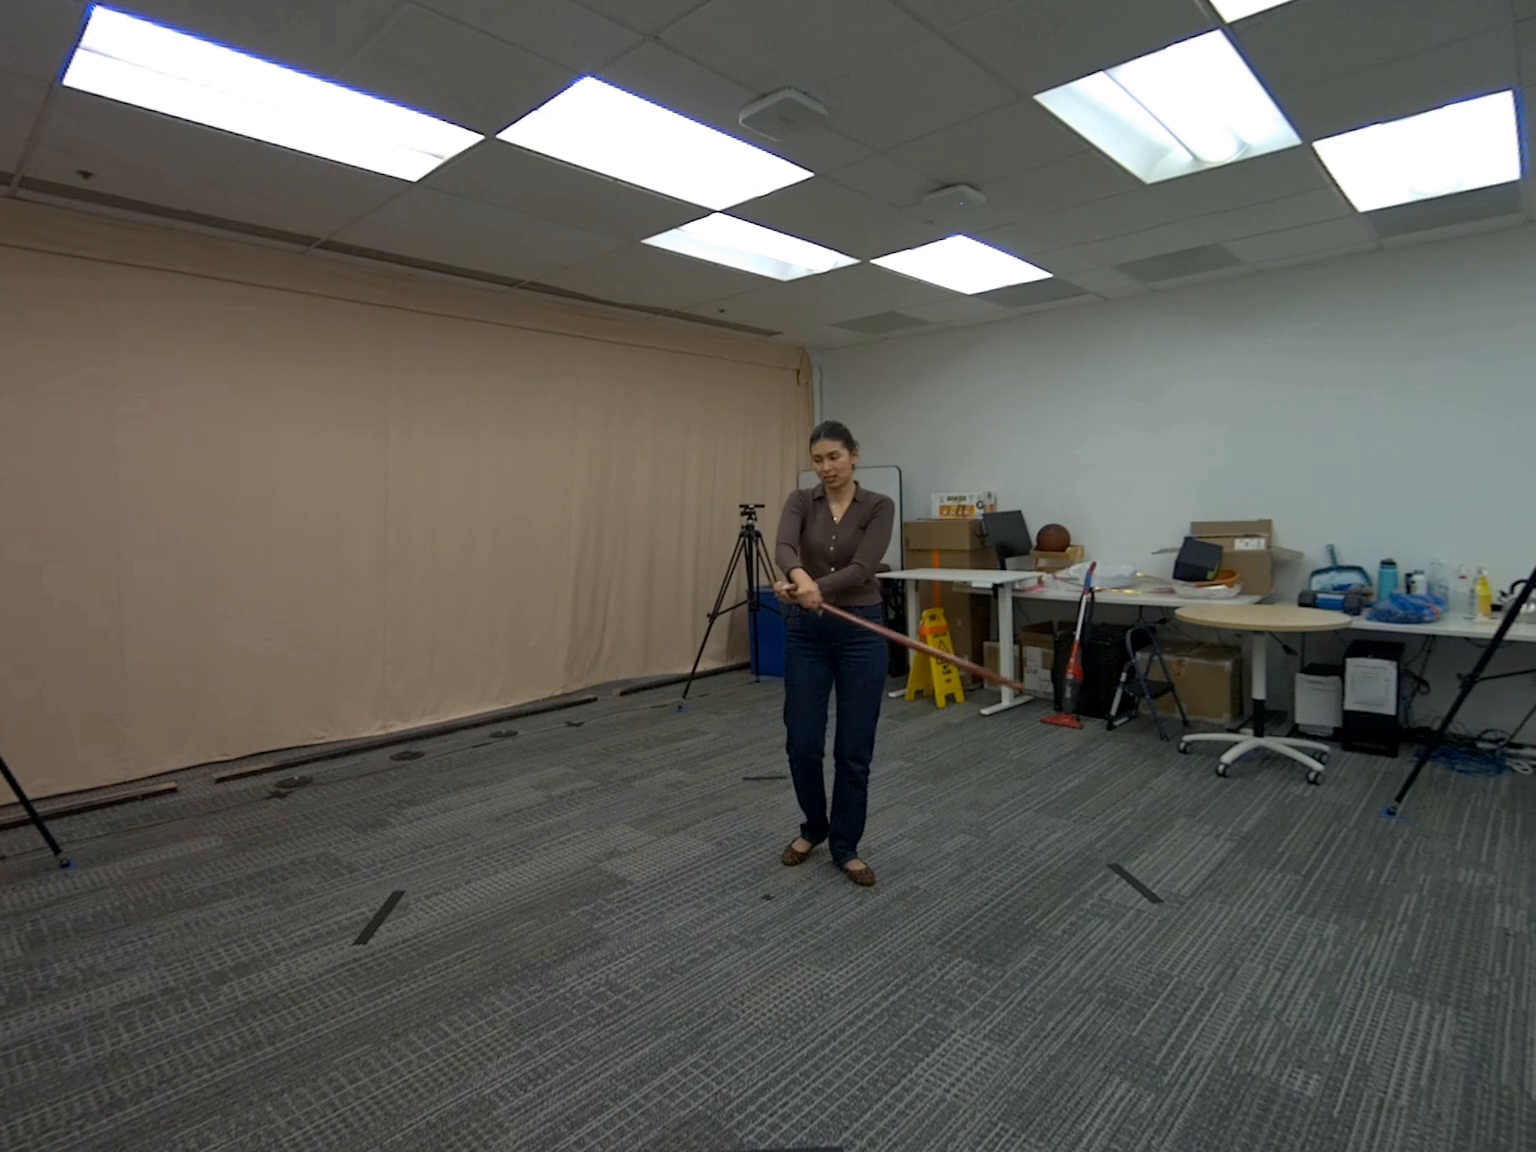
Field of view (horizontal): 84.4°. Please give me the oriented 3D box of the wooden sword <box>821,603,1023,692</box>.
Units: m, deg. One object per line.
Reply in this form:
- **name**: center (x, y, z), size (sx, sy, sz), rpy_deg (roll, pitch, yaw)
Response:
- **wooden sword**: center (0.402, 0.167, 2.521), size (1.063, 0.024, 0.049), rpy_deg (24, -8, 44)
